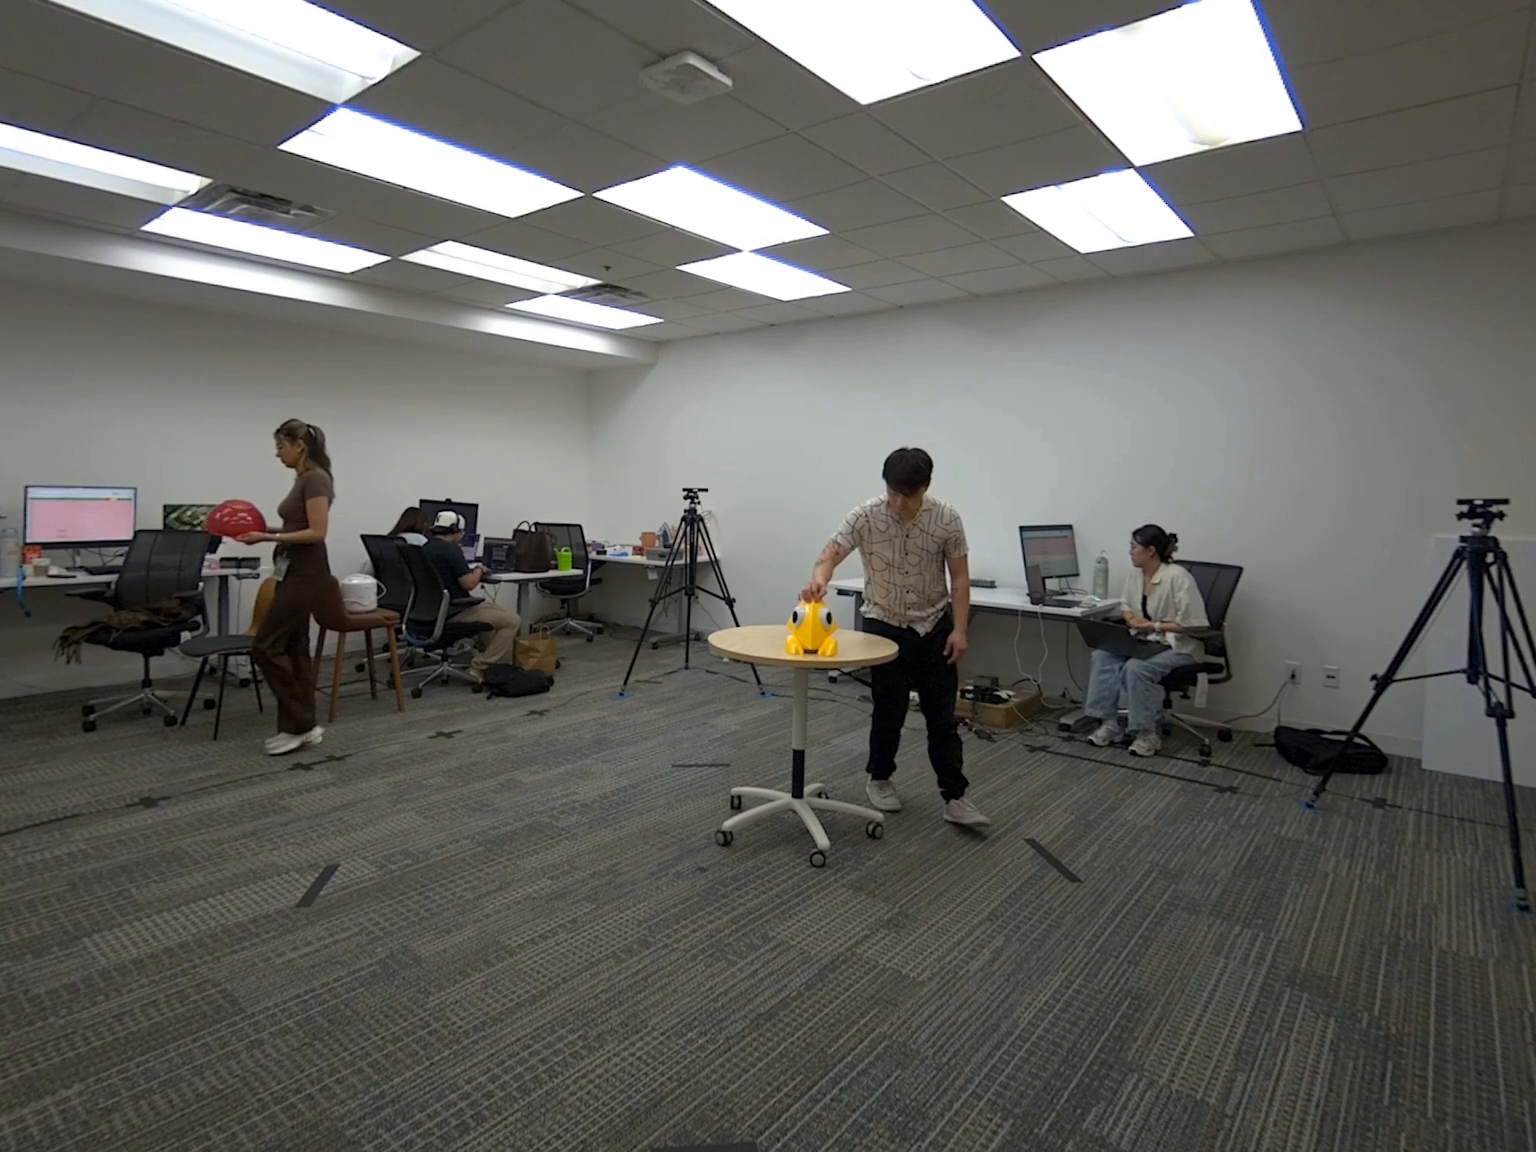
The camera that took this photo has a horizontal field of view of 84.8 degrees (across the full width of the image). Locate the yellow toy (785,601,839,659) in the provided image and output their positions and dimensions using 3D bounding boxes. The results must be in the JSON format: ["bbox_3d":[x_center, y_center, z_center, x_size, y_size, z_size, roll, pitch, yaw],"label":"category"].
[{"bbox_3d":[0.161,0.169,3.245,0.206,0.230,0.192,2,4,5],"label":"yellow toy"}]
